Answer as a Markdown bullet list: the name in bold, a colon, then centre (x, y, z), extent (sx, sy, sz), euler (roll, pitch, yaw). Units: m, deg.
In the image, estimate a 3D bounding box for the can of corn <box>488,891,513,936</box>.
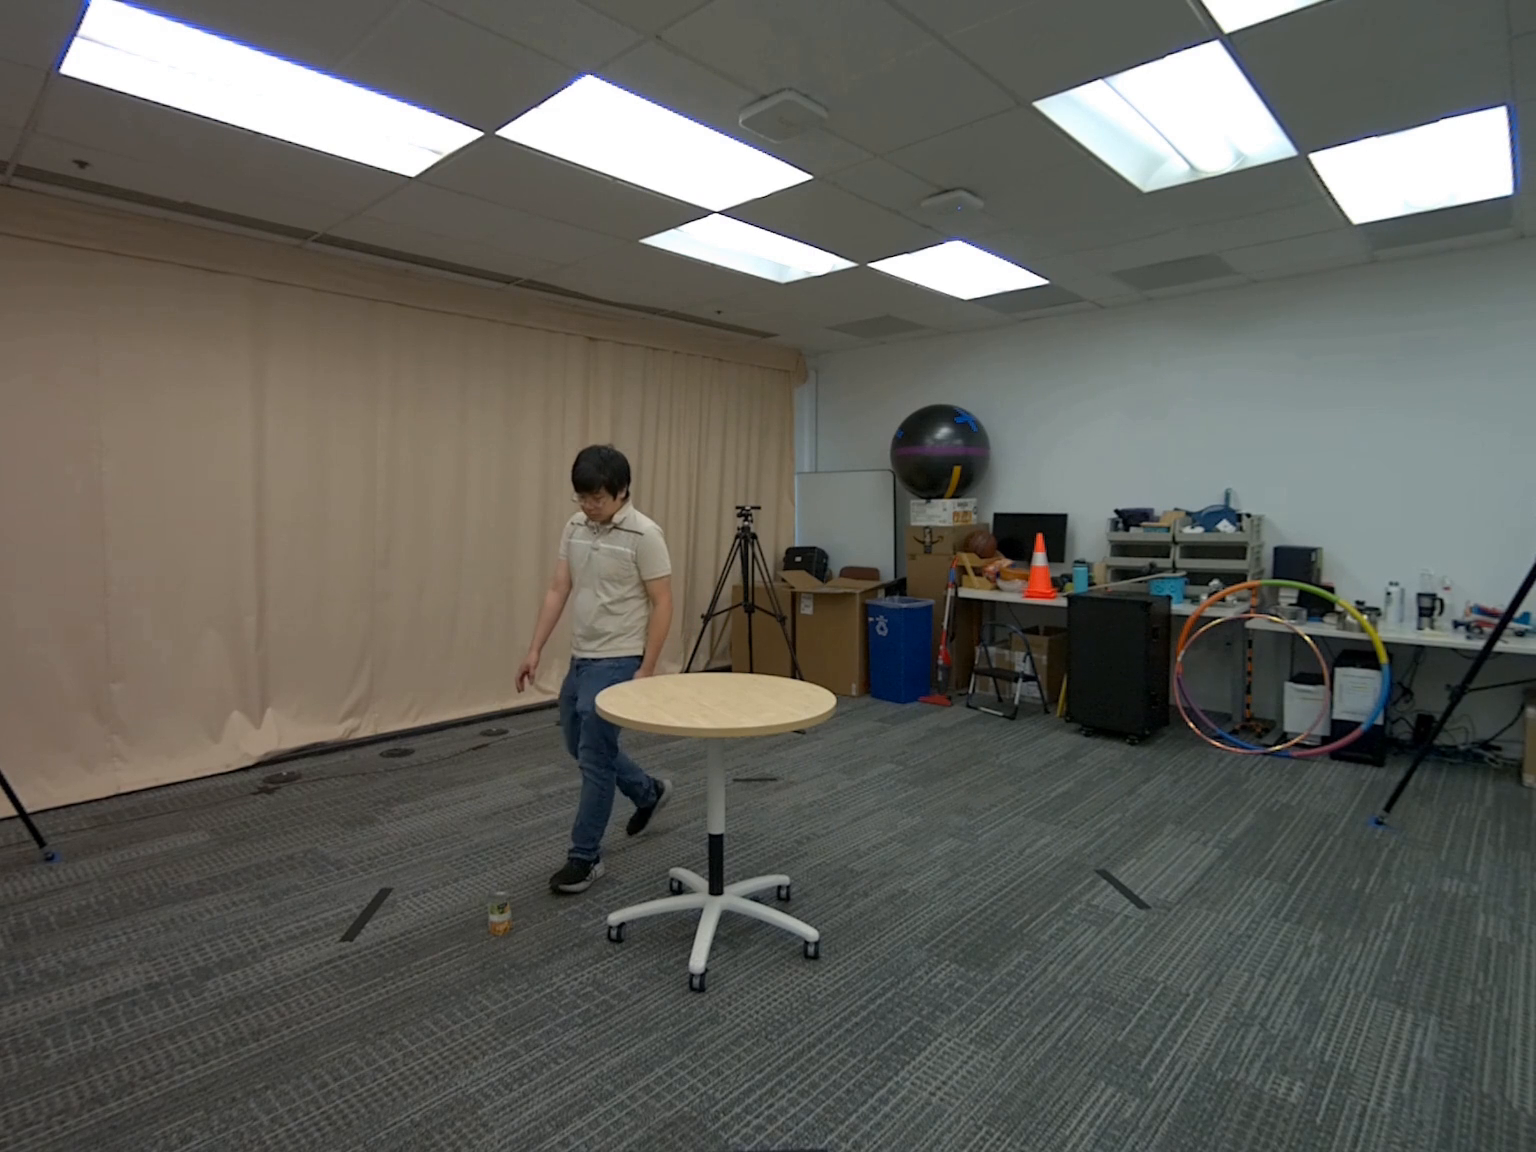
- **can of corn**: centre (-0.888, 1.114, 2.776), extent (0.074, 0.111, 0.074), euler (-3, -2, -2)
